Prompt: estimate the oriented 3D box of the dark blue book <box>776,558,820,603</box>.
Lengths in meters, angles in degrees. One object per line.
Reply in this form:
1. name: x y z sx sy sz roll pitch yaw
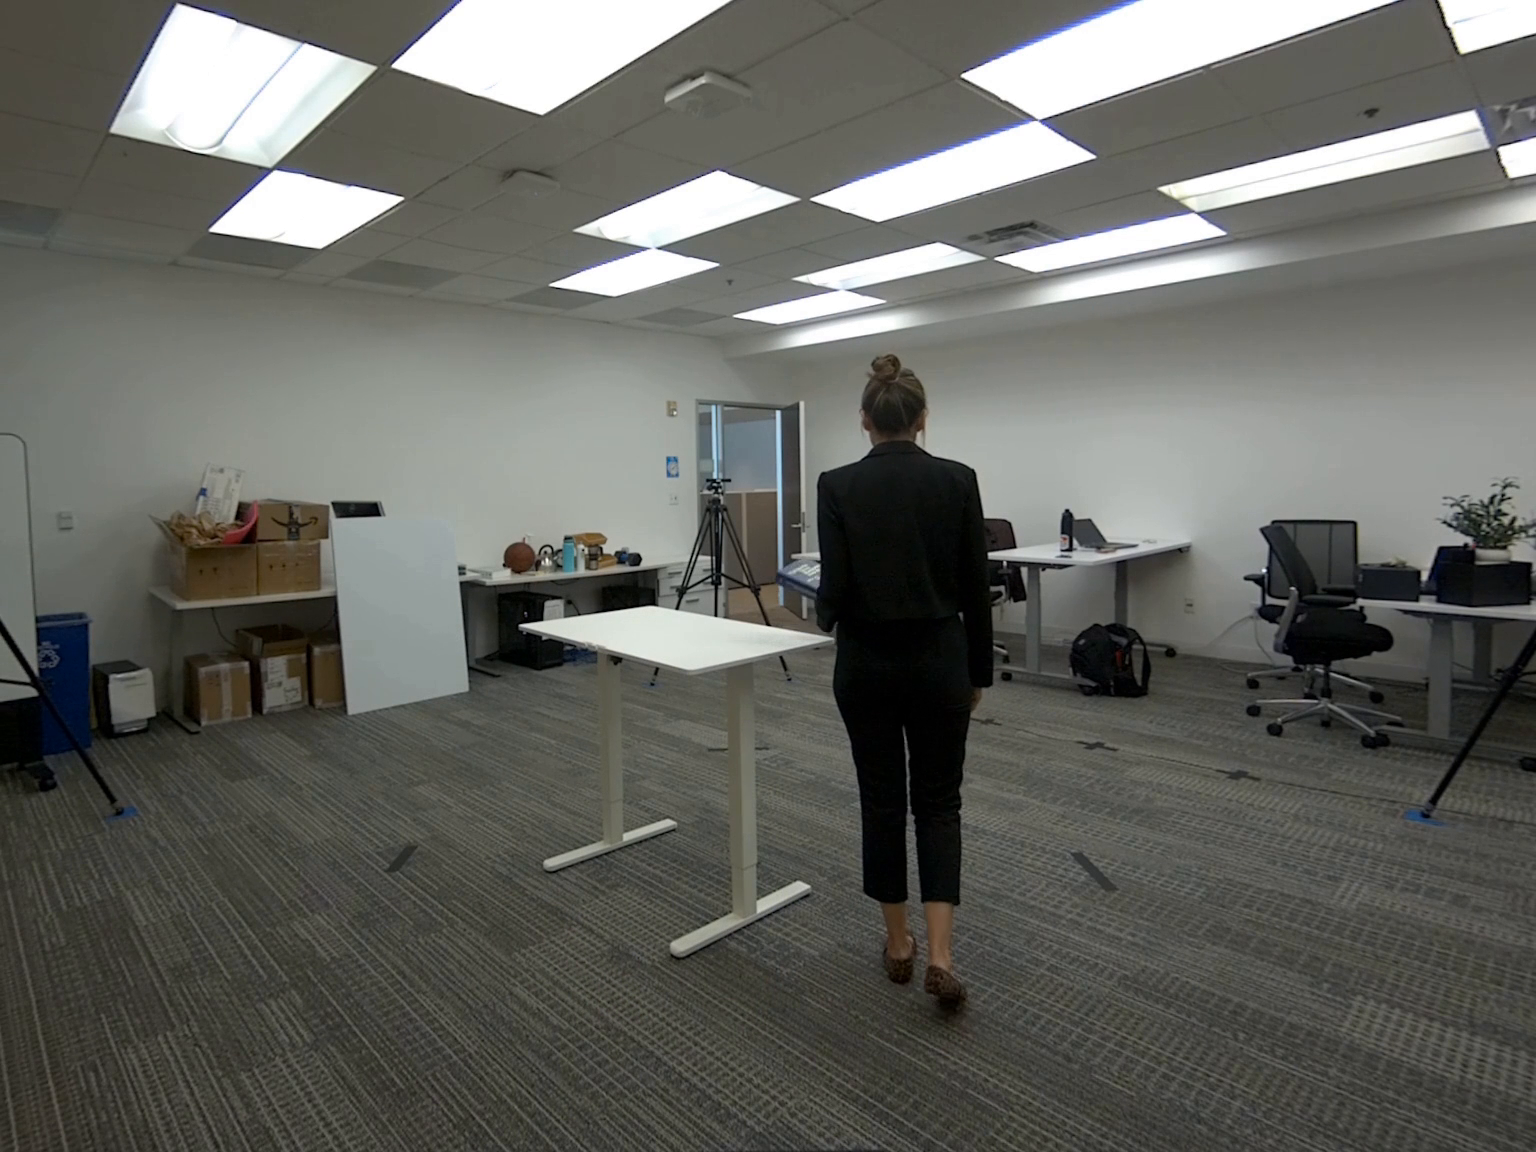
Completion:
1. dark blue book: 0.165 0.026 2.738 0.253 0.044 0.161 21 28 29
